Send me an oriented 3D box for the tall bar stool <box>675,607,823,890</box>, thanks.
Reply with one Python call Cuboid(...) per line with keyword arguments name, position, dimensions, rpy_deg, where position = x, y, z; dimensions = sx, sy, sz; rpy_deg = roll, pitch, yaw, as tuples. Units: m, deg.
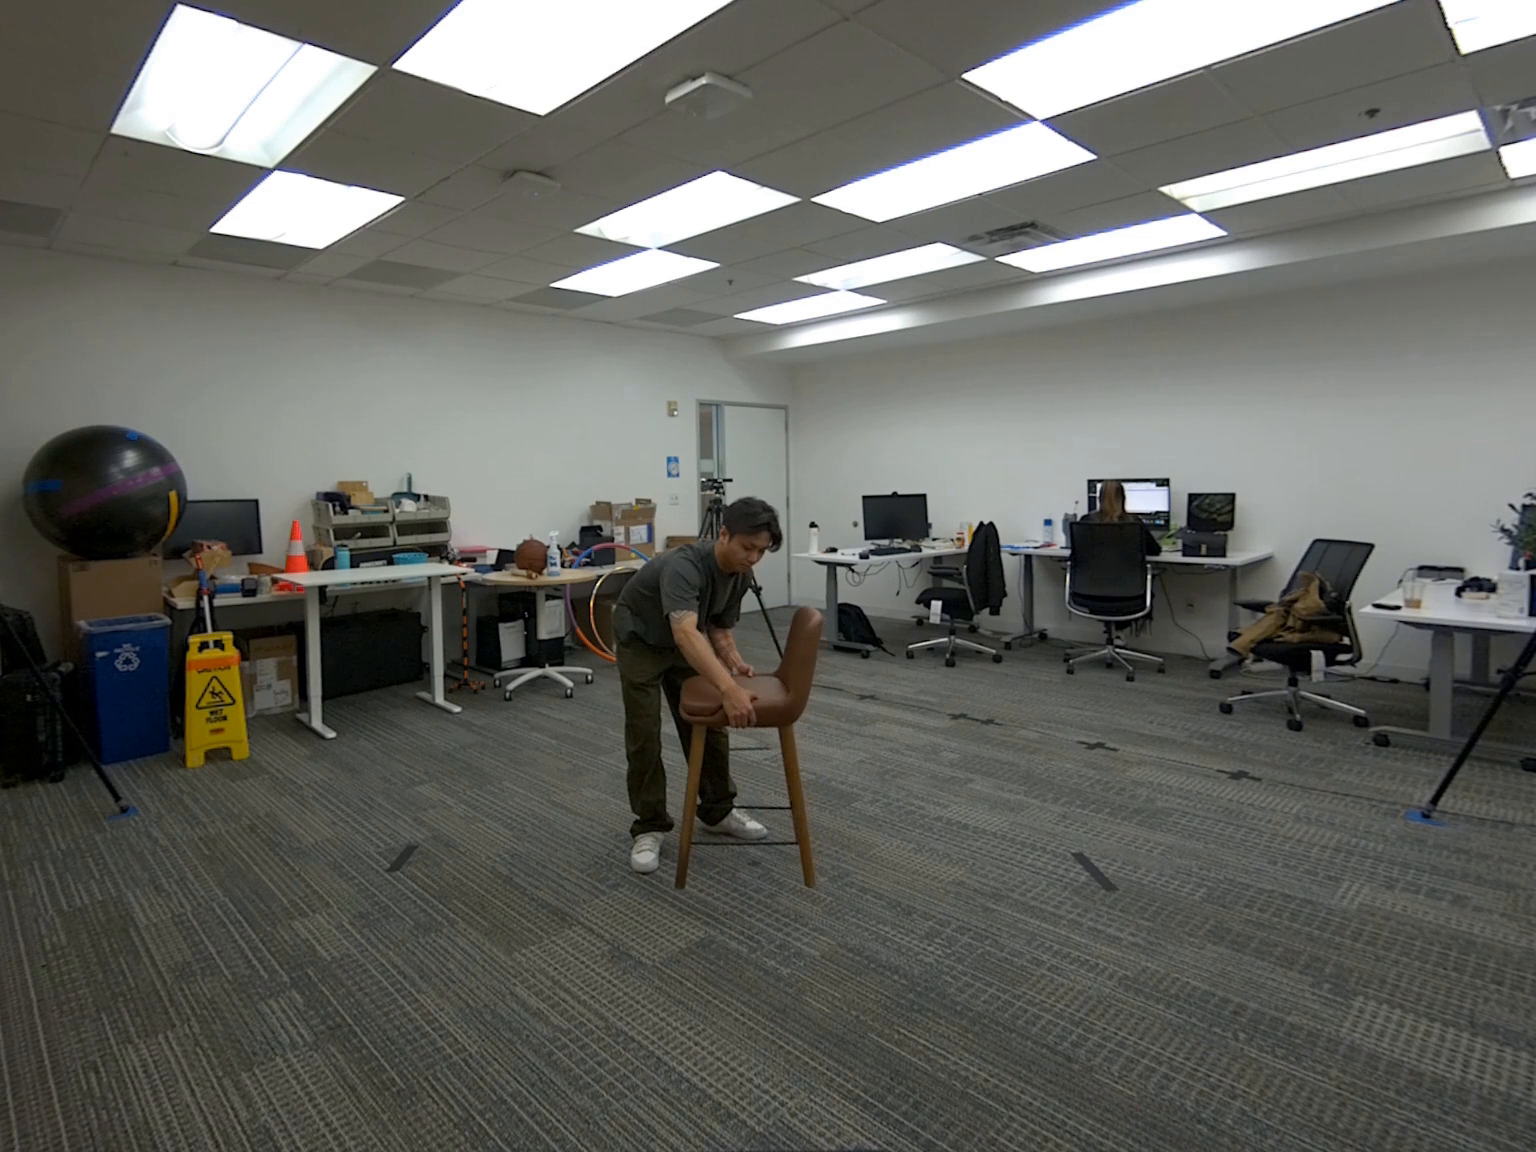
Cuboid(name="tall bar stool", position=(-0.072, 0.562, 2.912), dimensions=(0.467, 0.888, 0.458), rpy_deg=(2, 3, -2))
